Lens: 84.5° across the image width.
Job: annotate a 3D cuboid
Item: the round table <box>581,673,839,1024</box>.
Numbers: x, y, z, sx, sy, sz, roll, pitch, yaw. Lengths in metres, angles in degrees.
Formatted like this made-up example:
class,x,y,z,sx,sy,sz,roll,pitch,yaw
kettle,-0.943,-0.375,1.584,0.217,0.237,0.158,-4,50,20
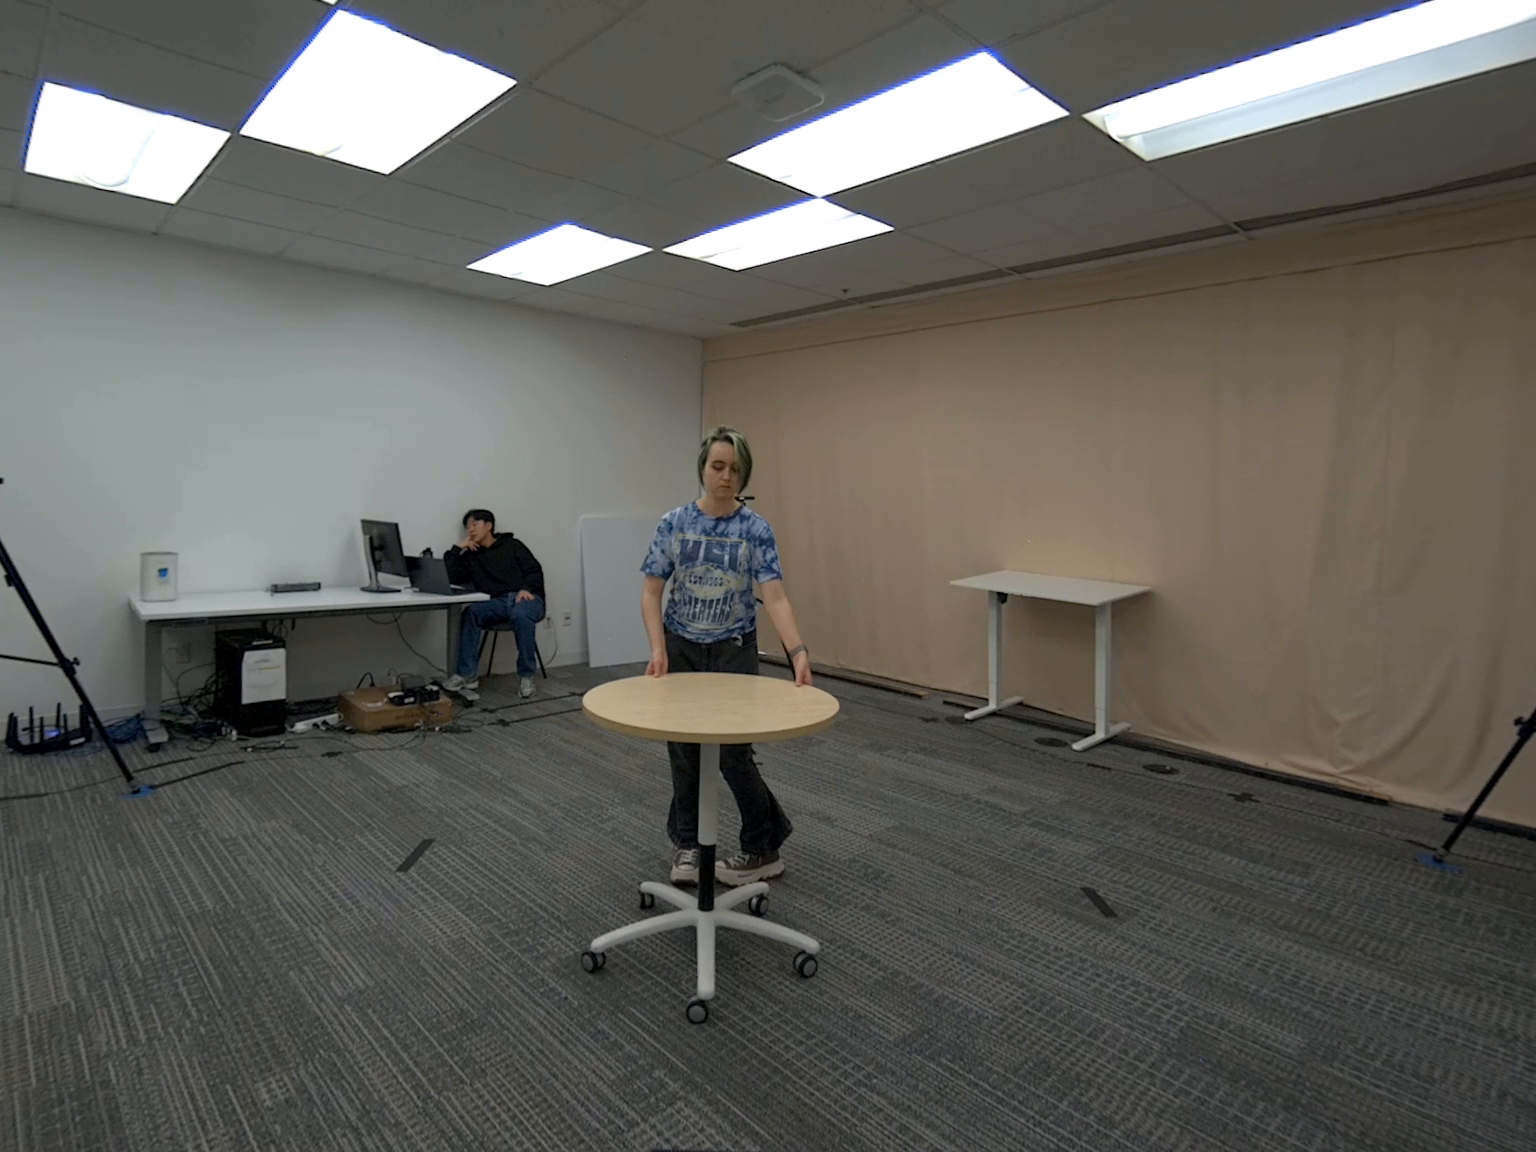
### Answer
class,x,y,z,sx,sy,sz,roll,pitch,yaw
round table,-0.189,0.766,2.554,0.763,0.792,0.766,2,4,-1
